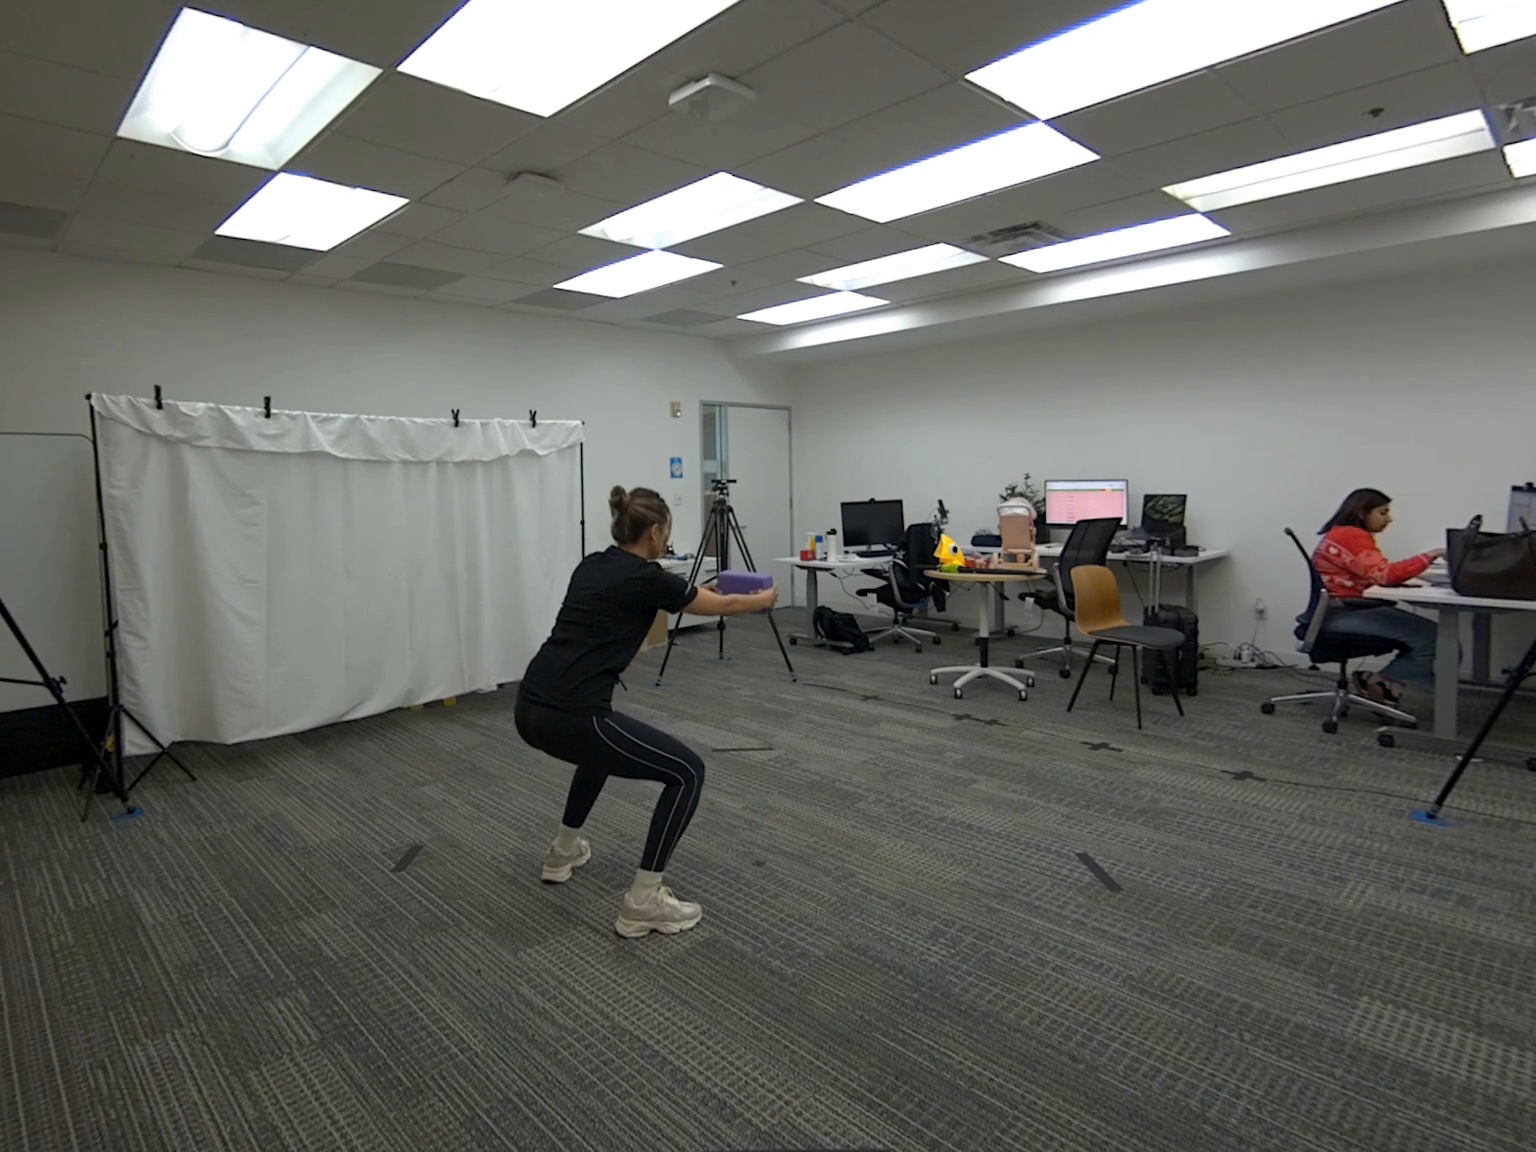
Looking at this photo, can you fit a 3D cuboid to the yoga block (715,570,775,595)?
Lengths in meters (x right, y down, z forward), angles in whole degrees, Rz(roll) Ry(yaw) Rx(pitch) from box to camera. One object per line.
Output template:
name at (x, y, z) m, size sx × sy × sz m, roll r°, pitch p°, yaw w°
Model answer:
yoga block at (-0.089, 0.068, 3.349) m, size 0.236 × 0.148 × 0.075 m, roll 6°, pitch 12°, yaw 38°
